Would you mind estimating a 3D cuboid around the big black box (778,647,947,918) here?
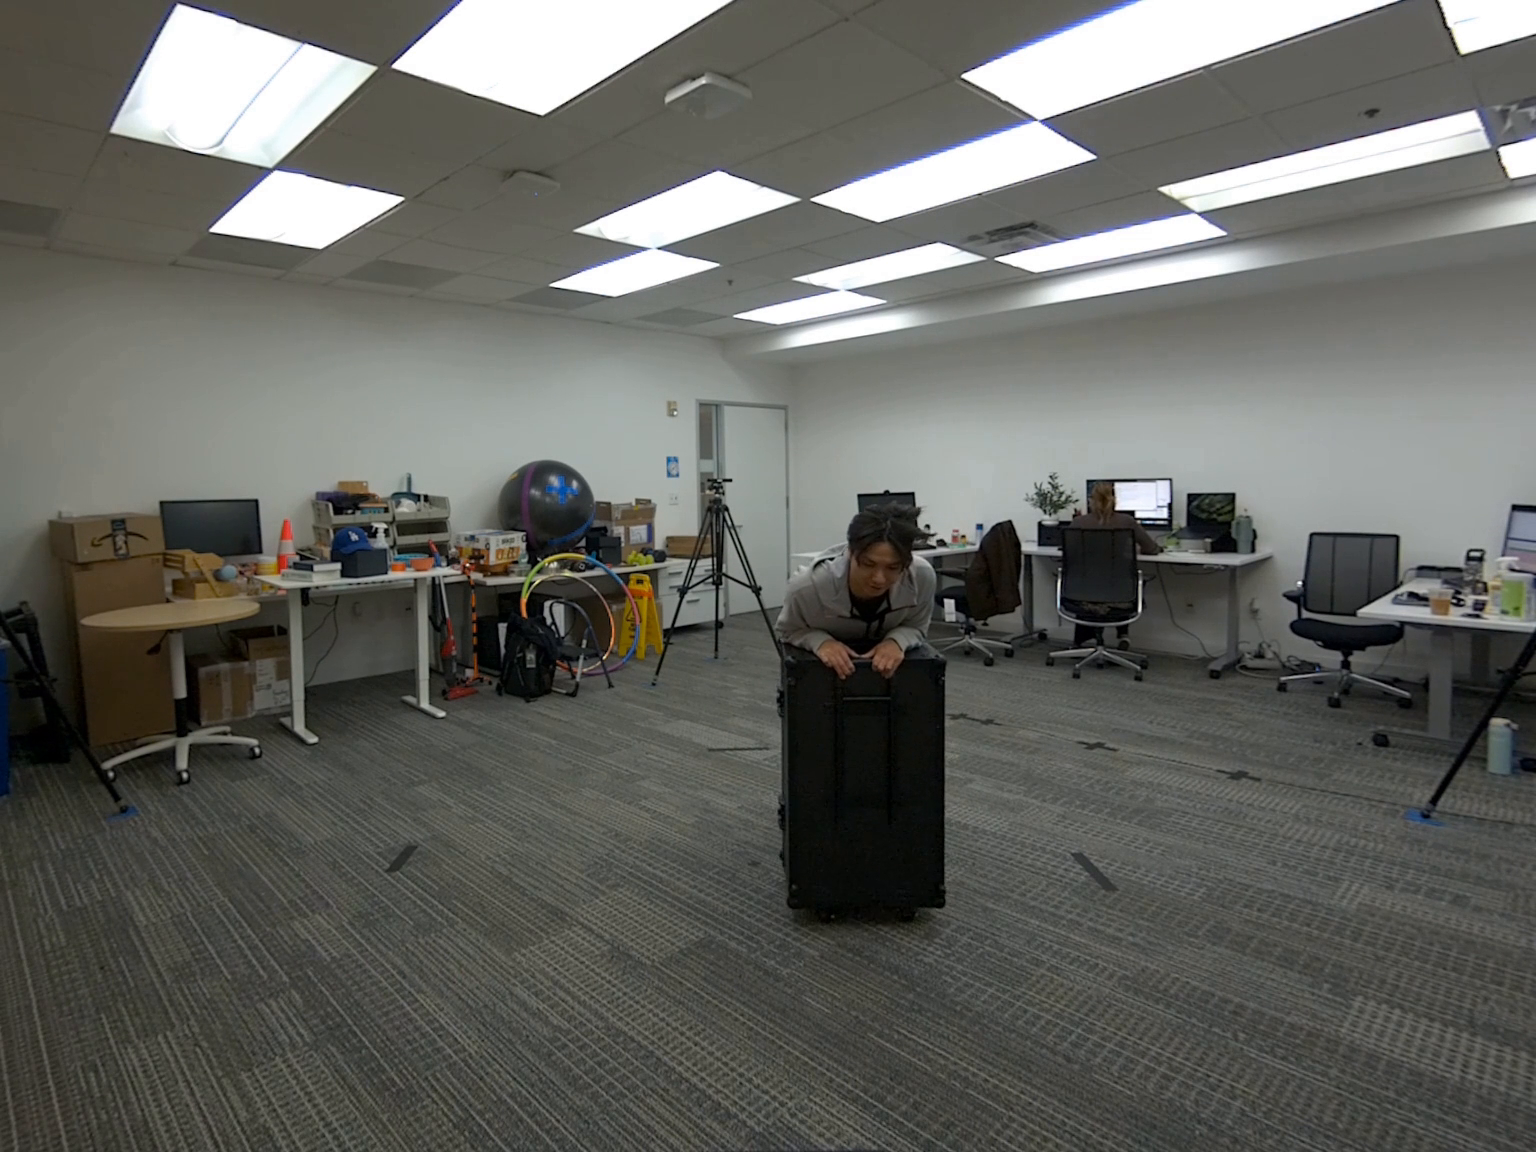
[{"bbox_3d":[0.307,0.654,2.773,0.520,0.858,0.398,-1,4,-2],"label":"big black box"}]
